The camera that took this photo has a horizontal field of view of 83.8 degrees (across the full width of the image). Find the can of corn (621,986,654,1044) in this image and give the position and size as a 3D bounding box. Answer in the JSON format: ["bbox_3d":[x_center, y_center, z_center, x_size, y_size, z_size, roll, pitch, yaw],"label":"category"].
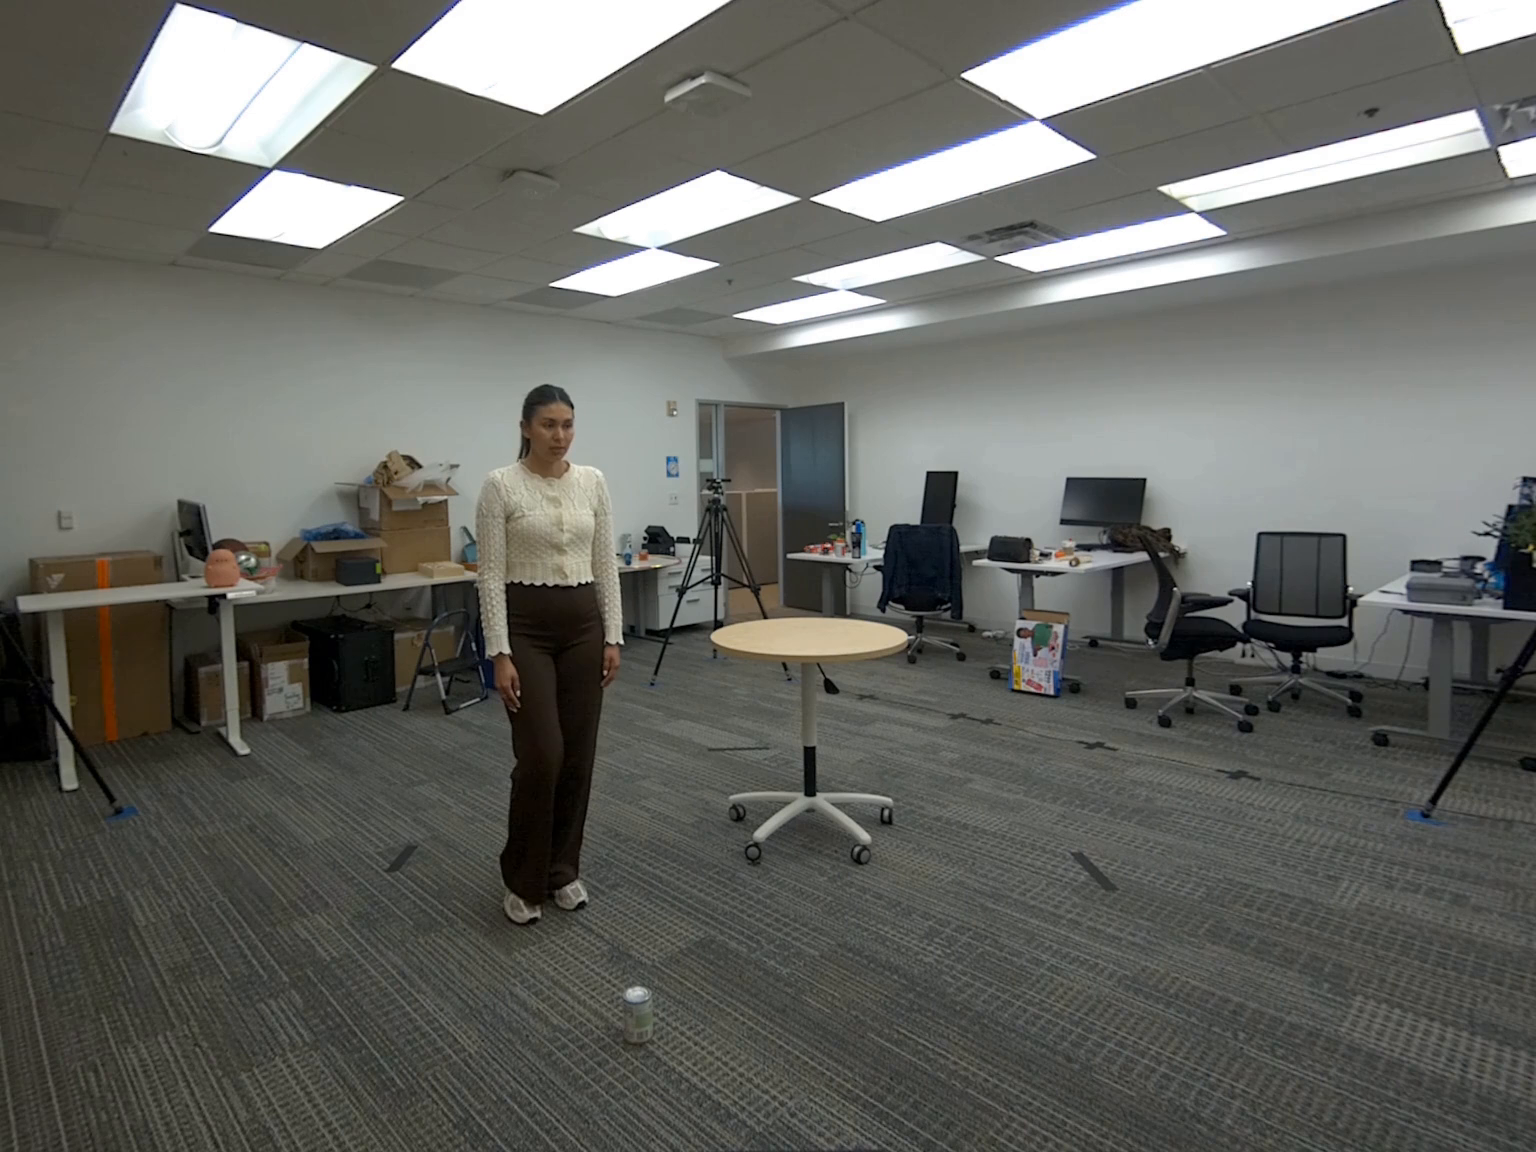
[{"bbox_3d":[-0.321,1.109,2.149,0.074,0.110,0.075,-1,7,-2],"label":"can of corn"}]
